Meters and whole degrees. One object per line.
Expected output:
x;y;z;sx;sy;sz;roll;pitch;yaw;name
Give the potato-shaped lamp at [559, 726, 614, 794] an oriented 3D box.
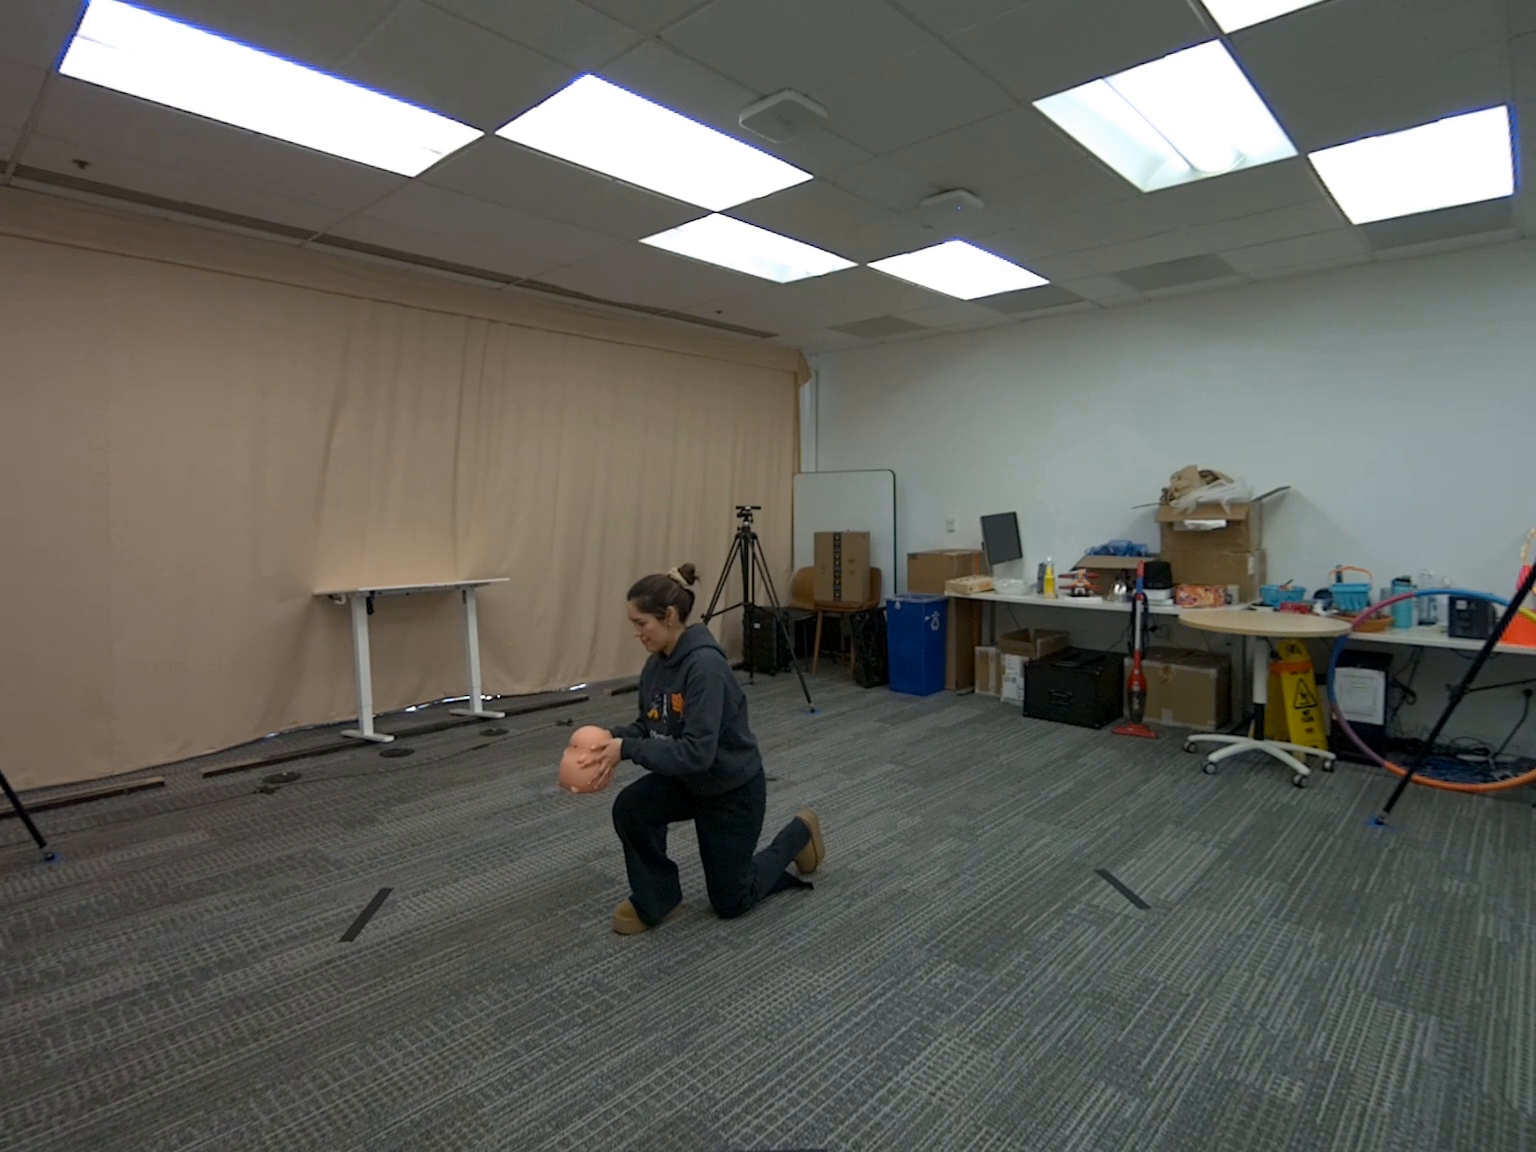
-0.551;0.578;2.638;0.166;0.198;0.169;5;-4;-34;potato-shaped lamp
